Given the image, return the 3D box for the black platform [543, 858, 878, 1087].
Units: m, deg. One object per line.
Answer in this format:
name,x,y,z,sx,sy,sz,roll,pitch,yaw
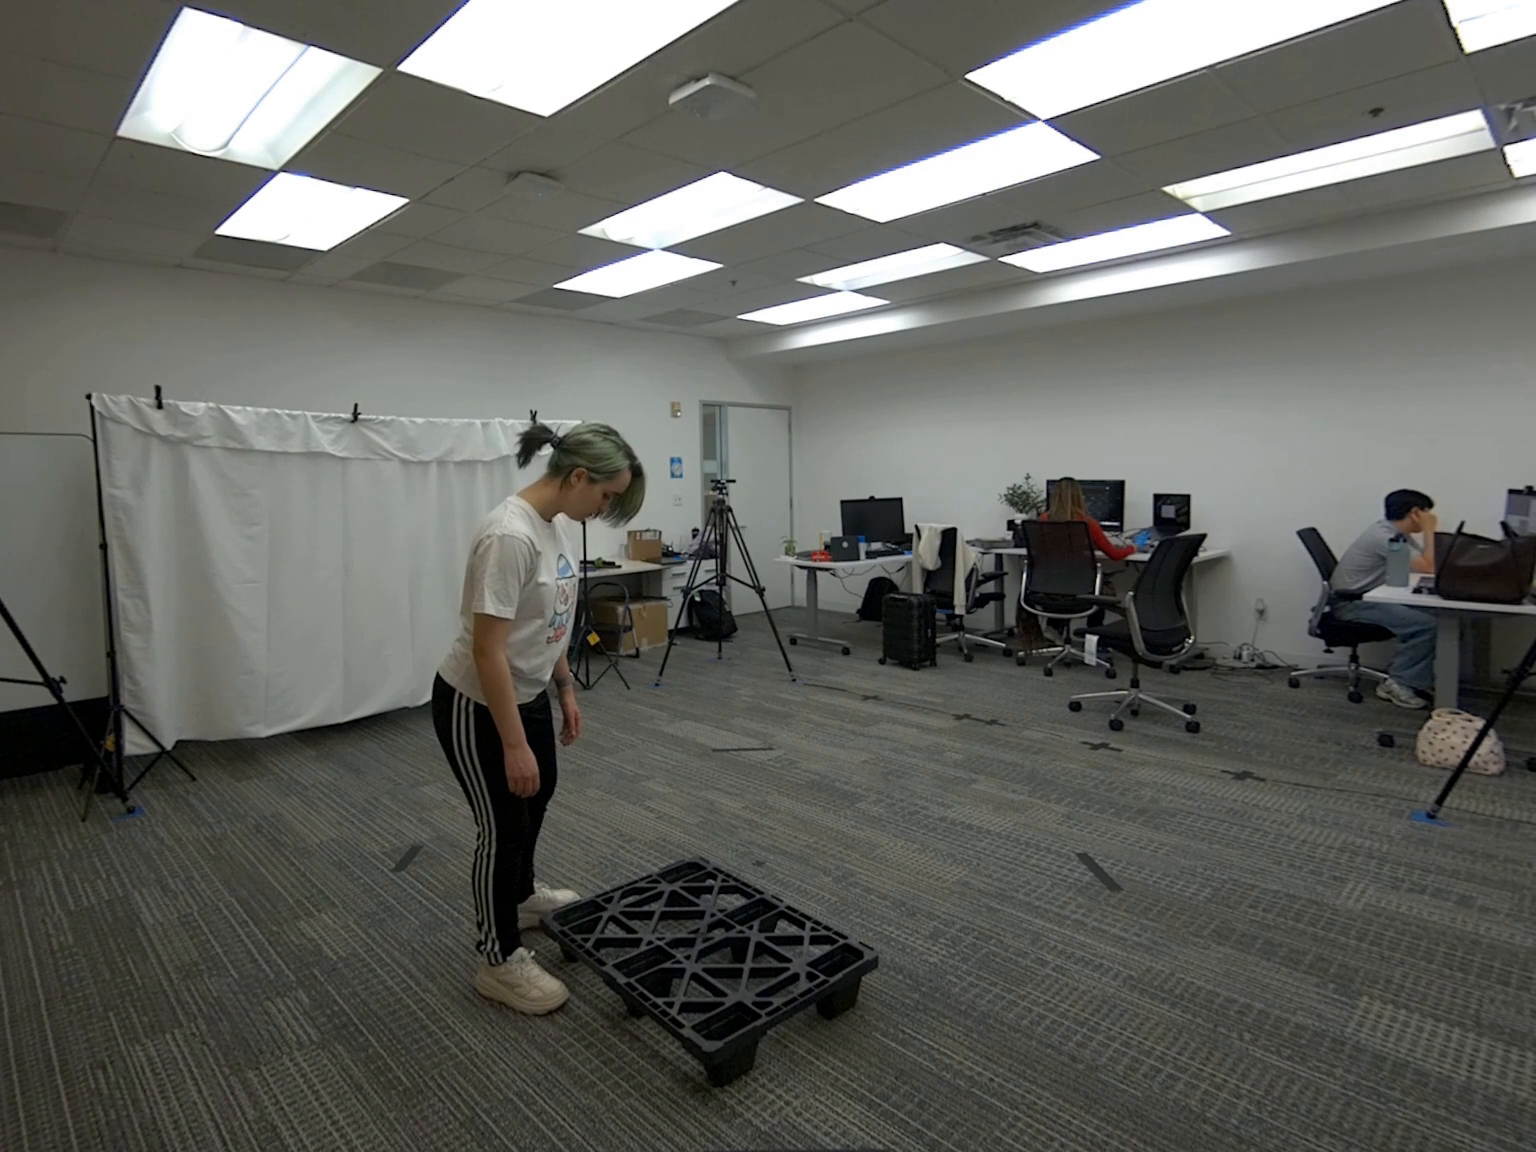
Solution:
black platform,-0.183,1.067,2.396,0.589,0.142,0.830,-6,8,-40
